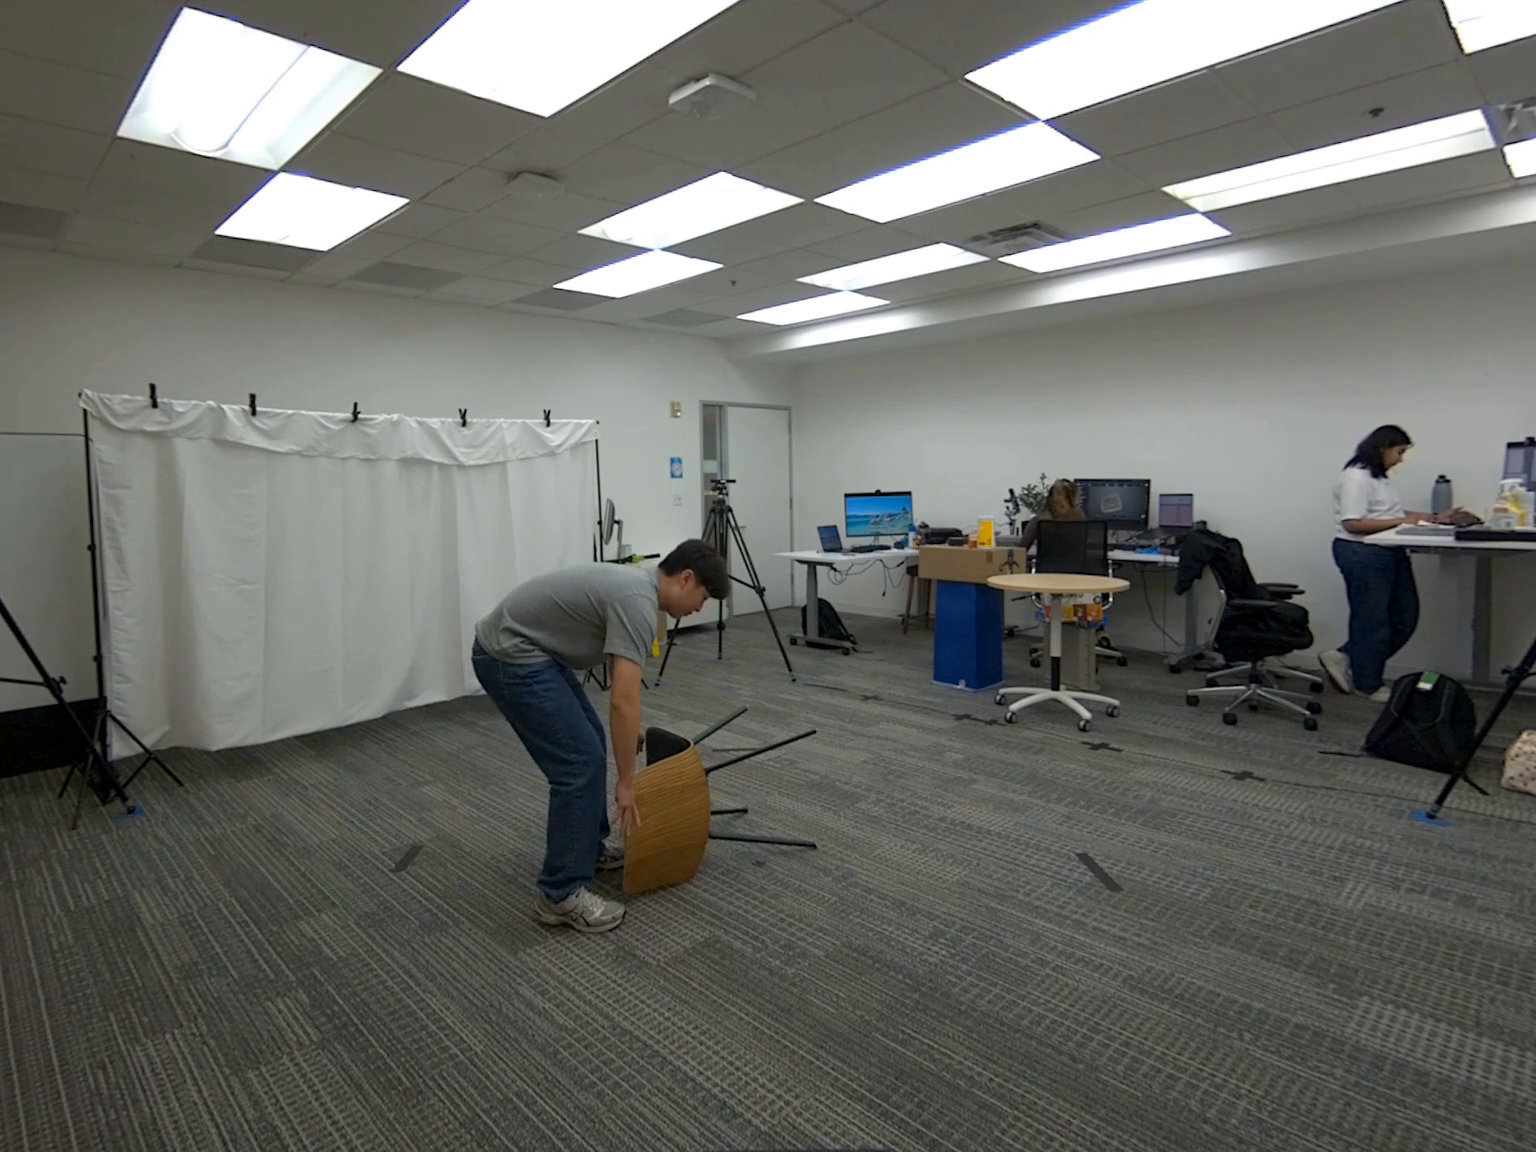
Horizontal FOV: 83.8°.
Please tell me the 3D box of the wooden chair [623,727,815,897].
[{"bbox_3d":[-0.296,0.812,3.161,0.854,0.476,0.539,-6,8,-42],"label":"wooden chair"}]
